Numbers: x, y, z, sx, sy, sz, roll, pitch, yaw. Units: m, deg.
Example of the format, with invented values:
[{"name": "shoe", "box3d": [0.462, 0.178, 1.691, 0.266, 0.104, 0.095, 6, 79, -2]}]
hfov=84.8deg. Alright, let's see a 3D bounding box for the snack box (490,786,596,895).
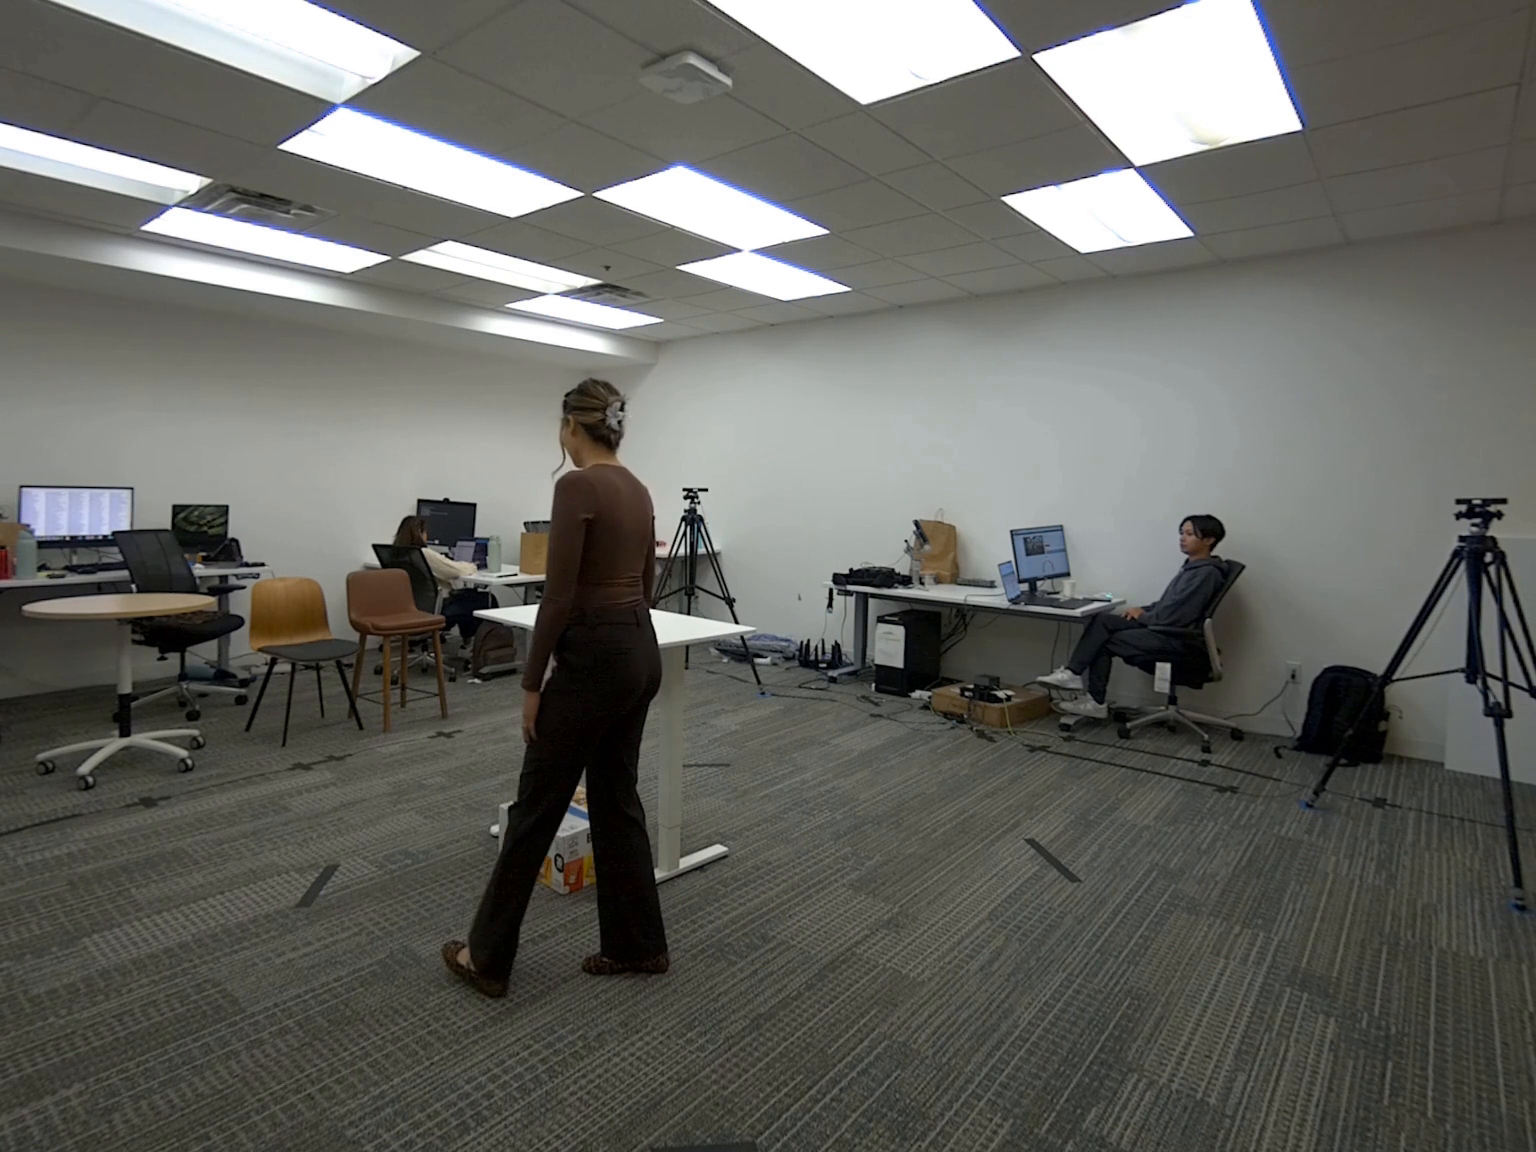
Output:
[{"name": "snack box", "box3d": [-0.746, 0.958, 3.134, 0.419, 0.205, 0.330, 5, 5, 42]}]
